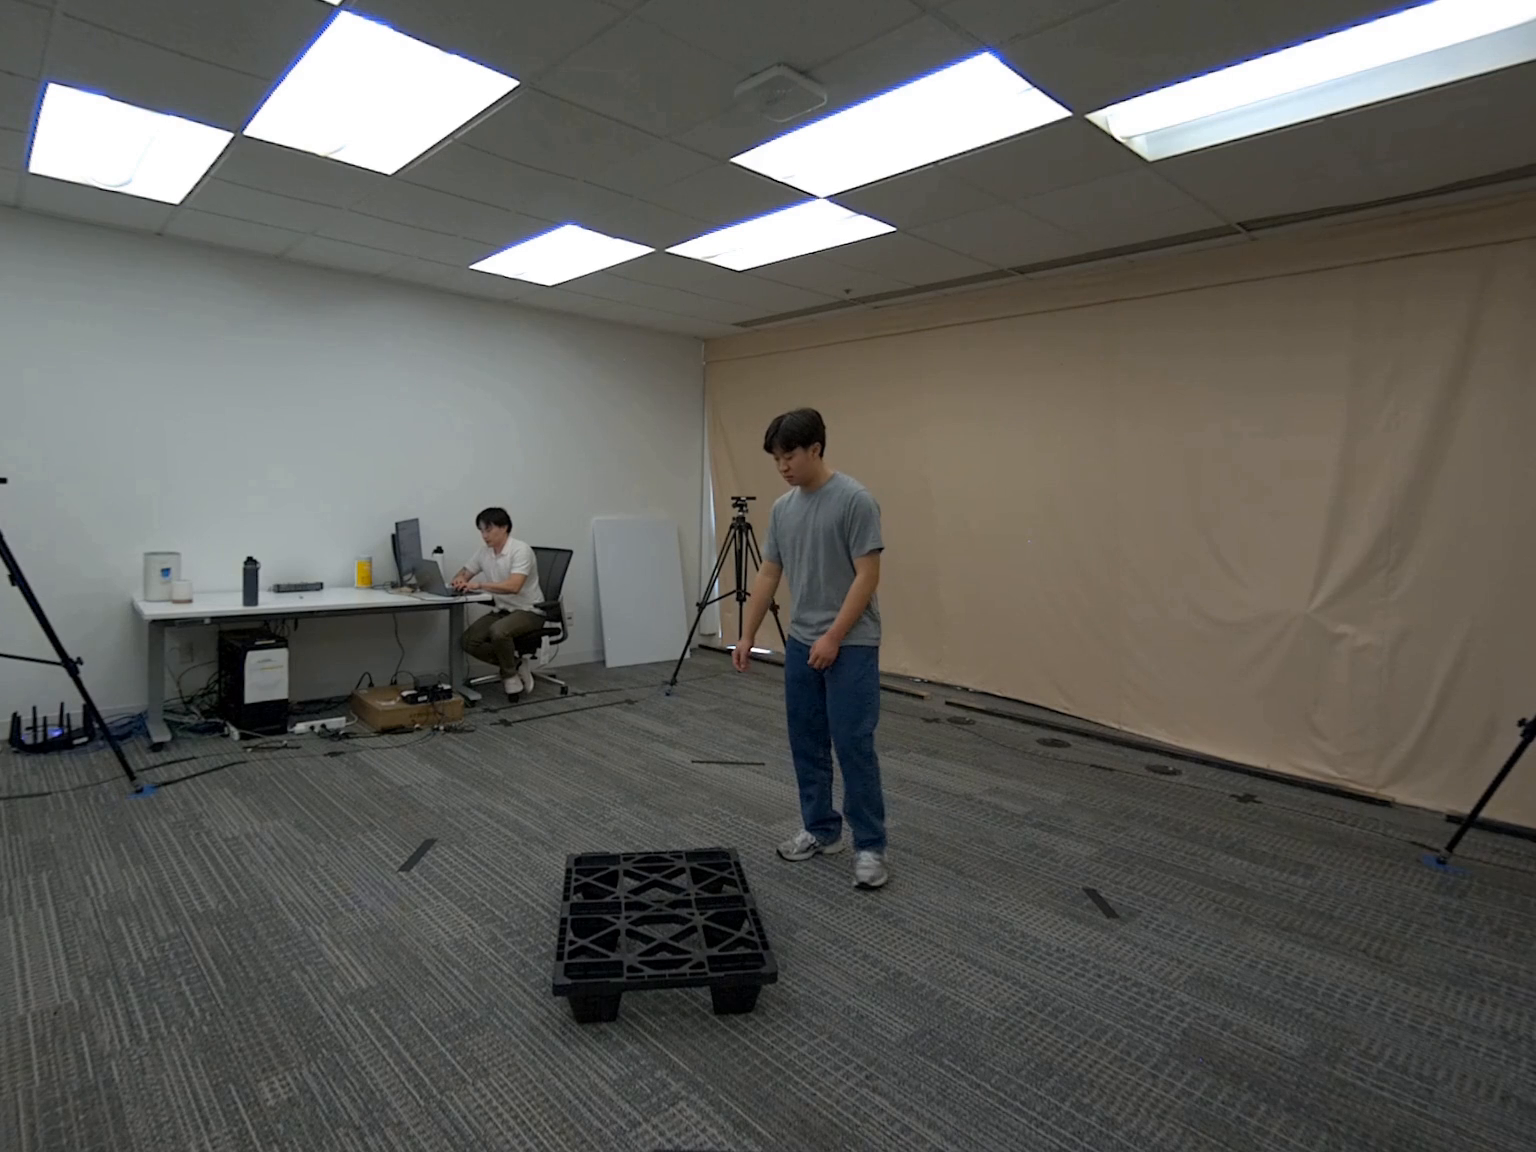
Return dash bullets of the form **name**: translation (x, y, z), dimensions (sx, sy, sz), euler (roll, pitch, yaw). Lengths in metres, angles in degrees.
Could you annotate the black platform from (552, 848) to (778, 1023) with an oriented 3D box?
- **black platform**: translation (-0.346, 1.080, 2.597), dimensions (0.601, 0.143, 0.814), euler (0, 5, -10)
